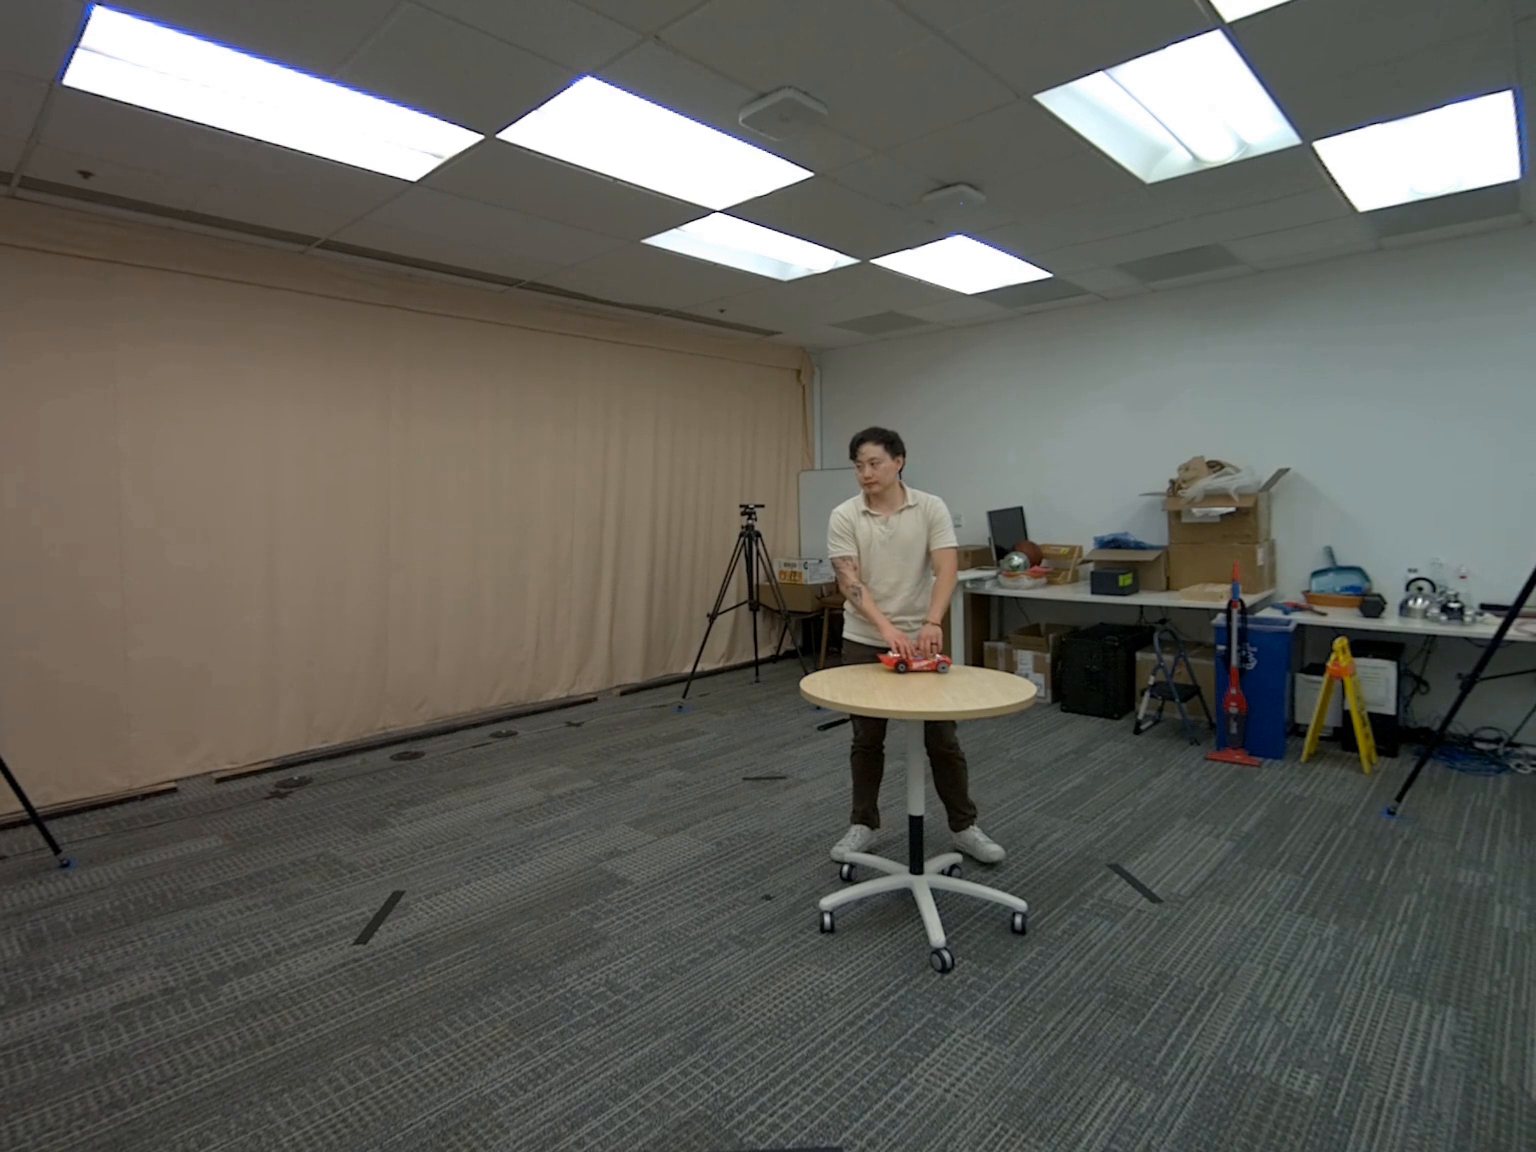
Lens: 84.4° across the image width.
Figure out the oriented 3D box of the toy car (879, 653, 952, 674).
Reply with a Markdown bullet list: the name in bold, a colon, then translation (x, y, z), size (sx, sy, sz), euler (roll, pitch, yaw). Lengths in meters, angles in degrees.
- **toy car**: translation (0.528, 0.310, 3.034), size (0.255, 0.083, 0.130), euler (7, 5, 1)
